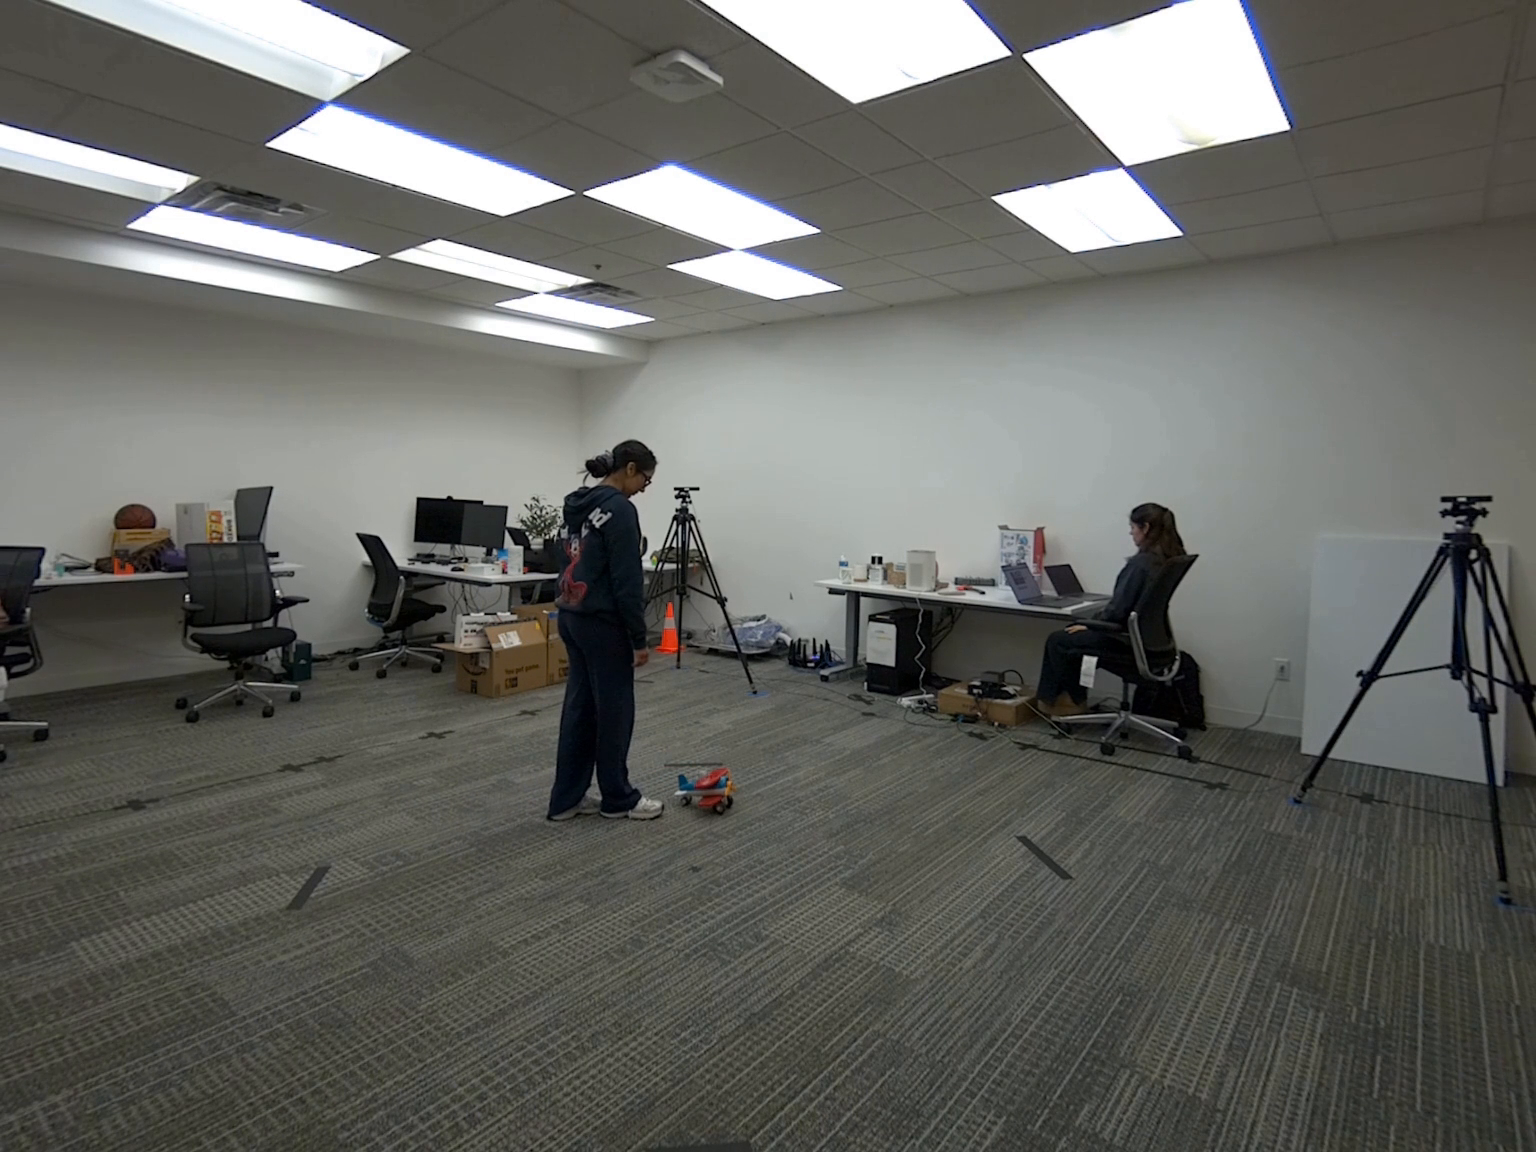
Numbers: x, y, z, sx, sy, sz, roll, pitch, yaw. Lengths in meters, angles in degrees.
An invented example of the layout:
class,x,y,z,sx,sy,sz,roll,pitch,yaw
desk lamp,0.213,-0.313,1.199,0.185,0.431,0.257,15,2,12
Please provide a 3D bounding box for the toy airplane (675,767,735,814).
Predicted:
class,x,y,z,sx,sy,sz,roll,pitch,yaw
toy airplane,-0.287,0.935,3.683,0.257,0.156,0.254,2,4,-8
